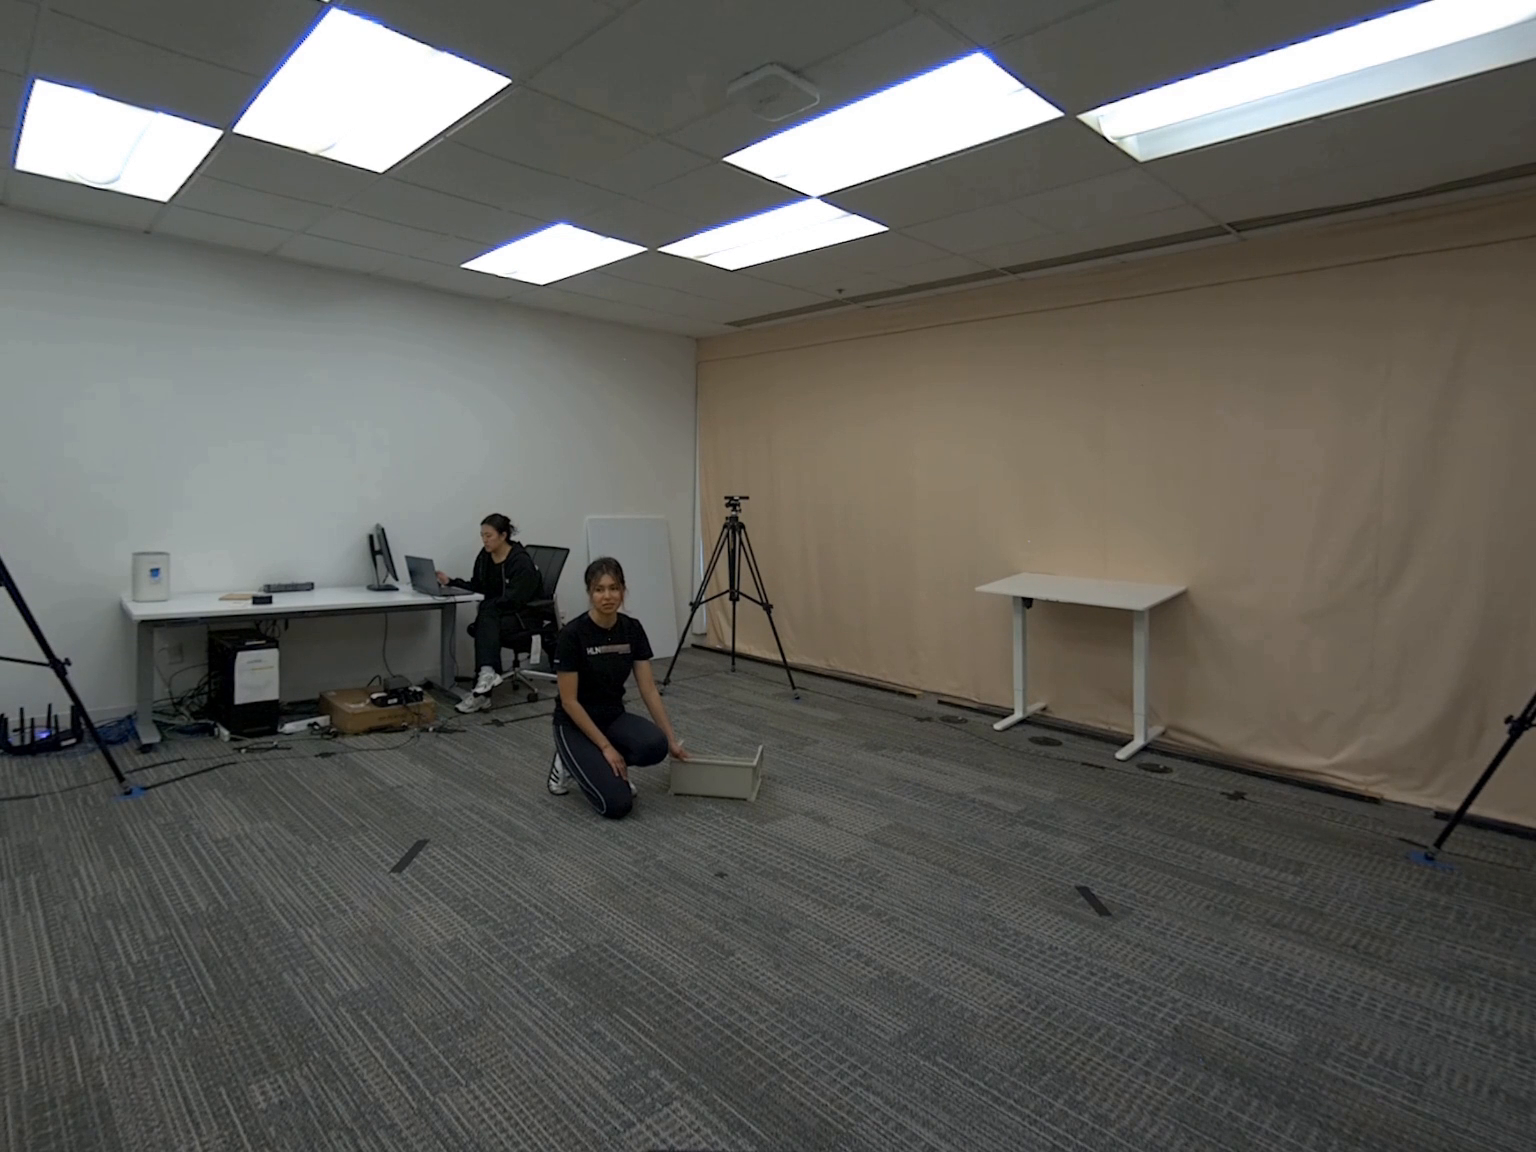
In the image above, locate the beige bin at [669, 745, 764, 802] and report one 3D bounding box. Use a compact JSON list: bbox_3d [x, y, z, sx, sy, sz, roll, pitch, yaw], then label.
[{"bbox_3d":[-0.260,0.930,4.091,0.425,0.188,0.376,2,6,6],"label":"beige bin"}]
